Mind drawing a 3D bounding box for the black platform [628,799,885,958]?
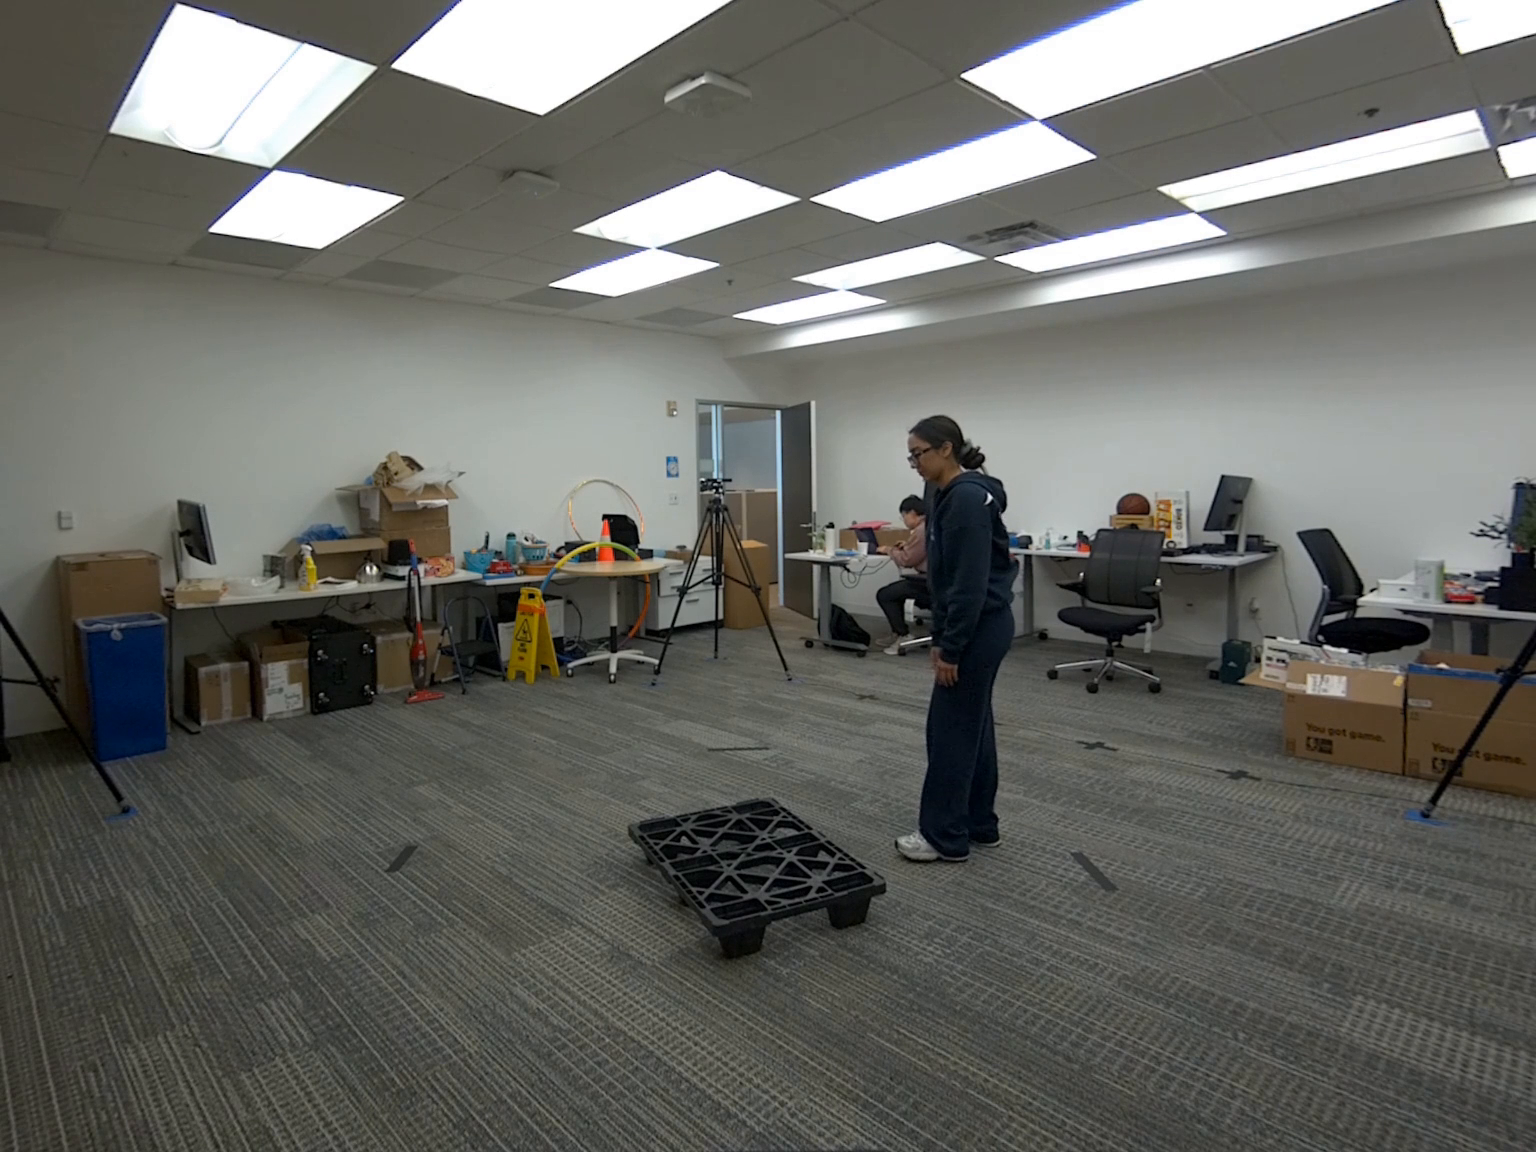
[{"bbox_3d":[-0.071,1.001,2.906,0.593,0.142,0.826,-5,7,-26],"label":"black platform"}]
